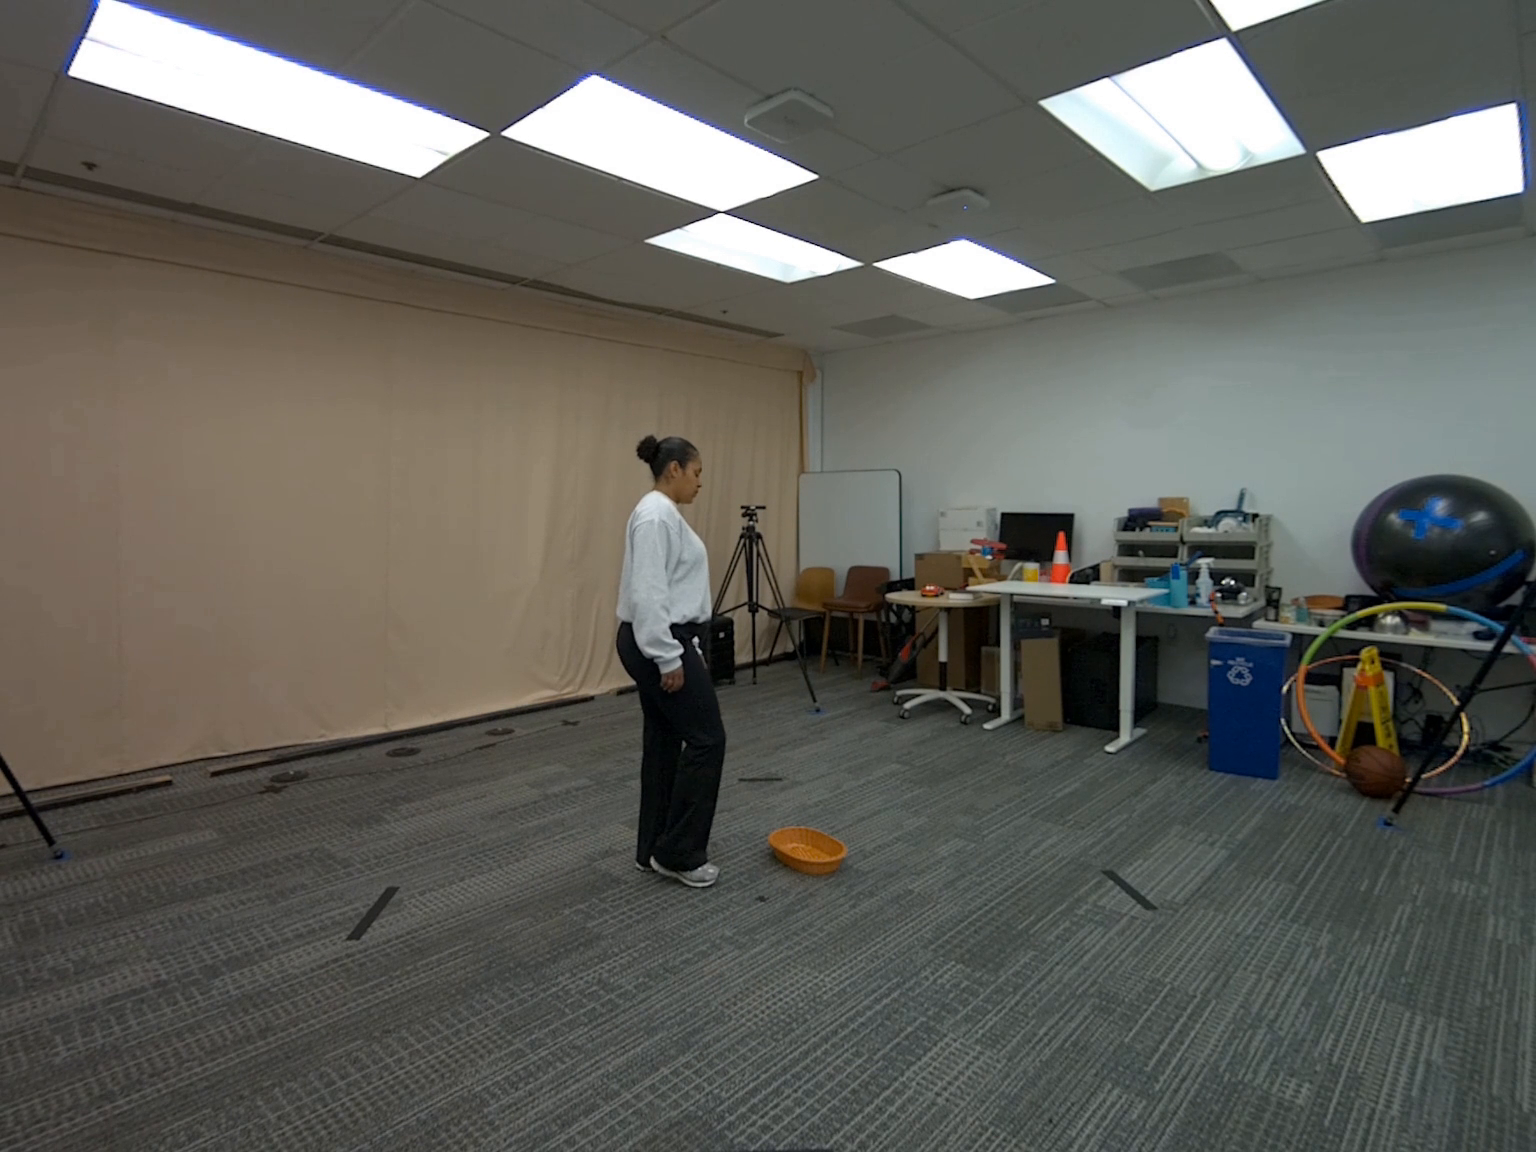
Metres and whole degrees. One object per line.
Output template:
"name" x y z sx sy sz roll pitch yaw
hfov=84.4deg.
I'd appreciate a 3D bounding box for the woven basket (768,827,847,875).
"woven basket" 0.152 1.080 3.292 0.245 0.073 0.361 -3 6 -31
